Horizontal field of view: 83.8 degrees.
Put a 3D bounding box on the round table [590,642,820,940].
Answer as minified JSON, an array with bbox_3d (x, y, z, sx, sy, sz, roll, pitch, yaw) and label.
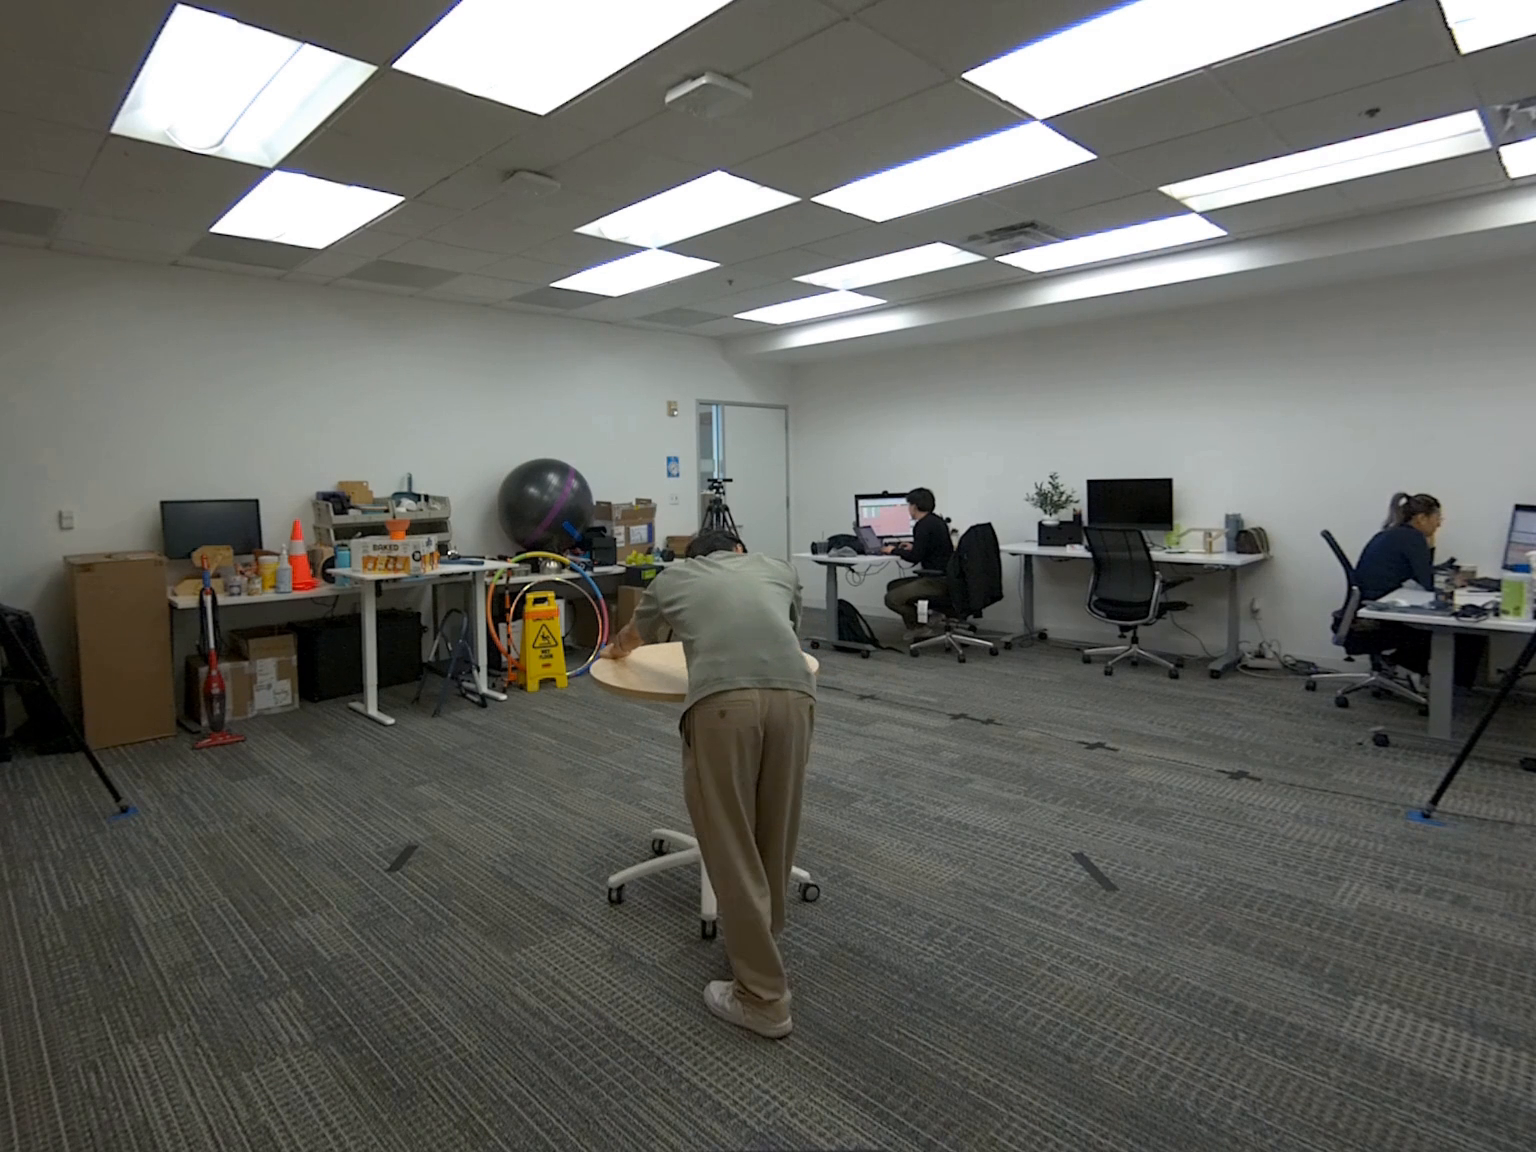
[{"bbox_3d":[-0.214,0.681,2.913,0.784,0.783,0.789,0,5,-2],"label":"round table"}]
